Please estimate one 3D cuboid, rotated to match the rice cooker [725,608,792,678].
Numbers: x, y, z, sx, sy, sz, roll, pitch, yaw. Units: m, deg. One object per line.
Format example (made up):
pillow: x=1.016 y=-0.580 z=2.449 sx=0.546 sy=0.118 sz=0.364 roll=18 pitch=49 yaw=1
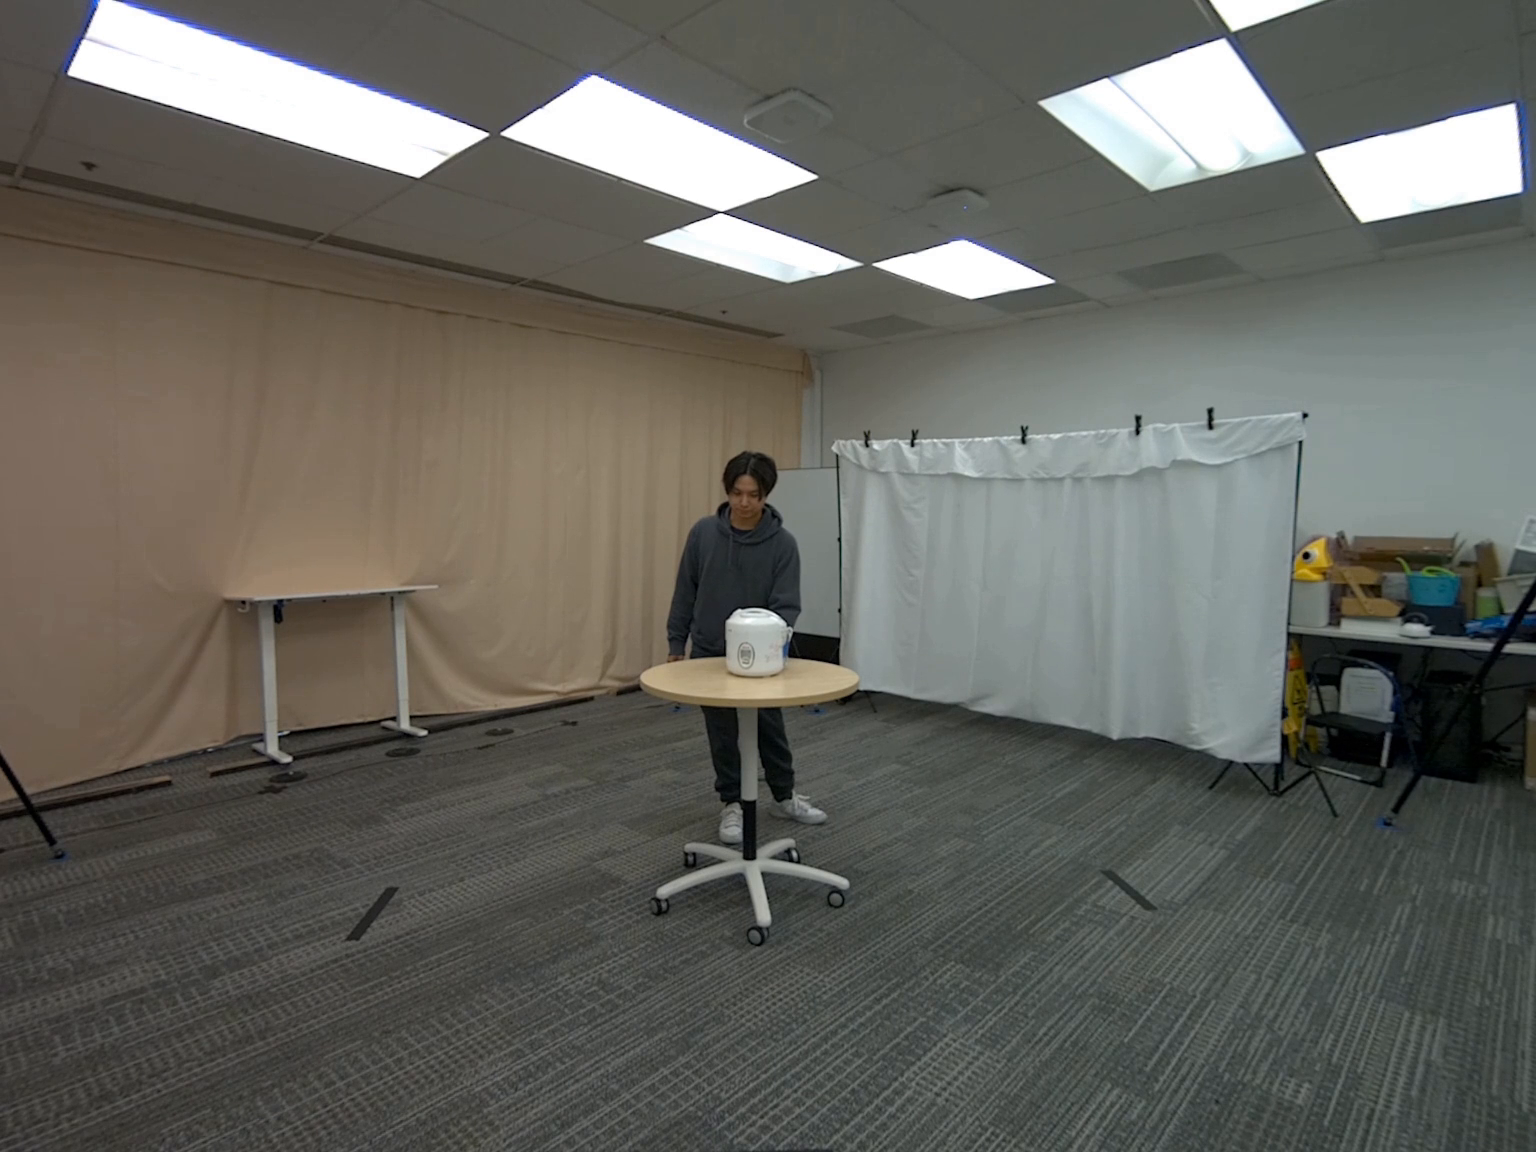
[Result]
rice cooker: x=-0.045 y=0.230 z=2.994 sx=0.225 sy=0.232 sz=0.213 roll=1 pitch=2 yaw=19
